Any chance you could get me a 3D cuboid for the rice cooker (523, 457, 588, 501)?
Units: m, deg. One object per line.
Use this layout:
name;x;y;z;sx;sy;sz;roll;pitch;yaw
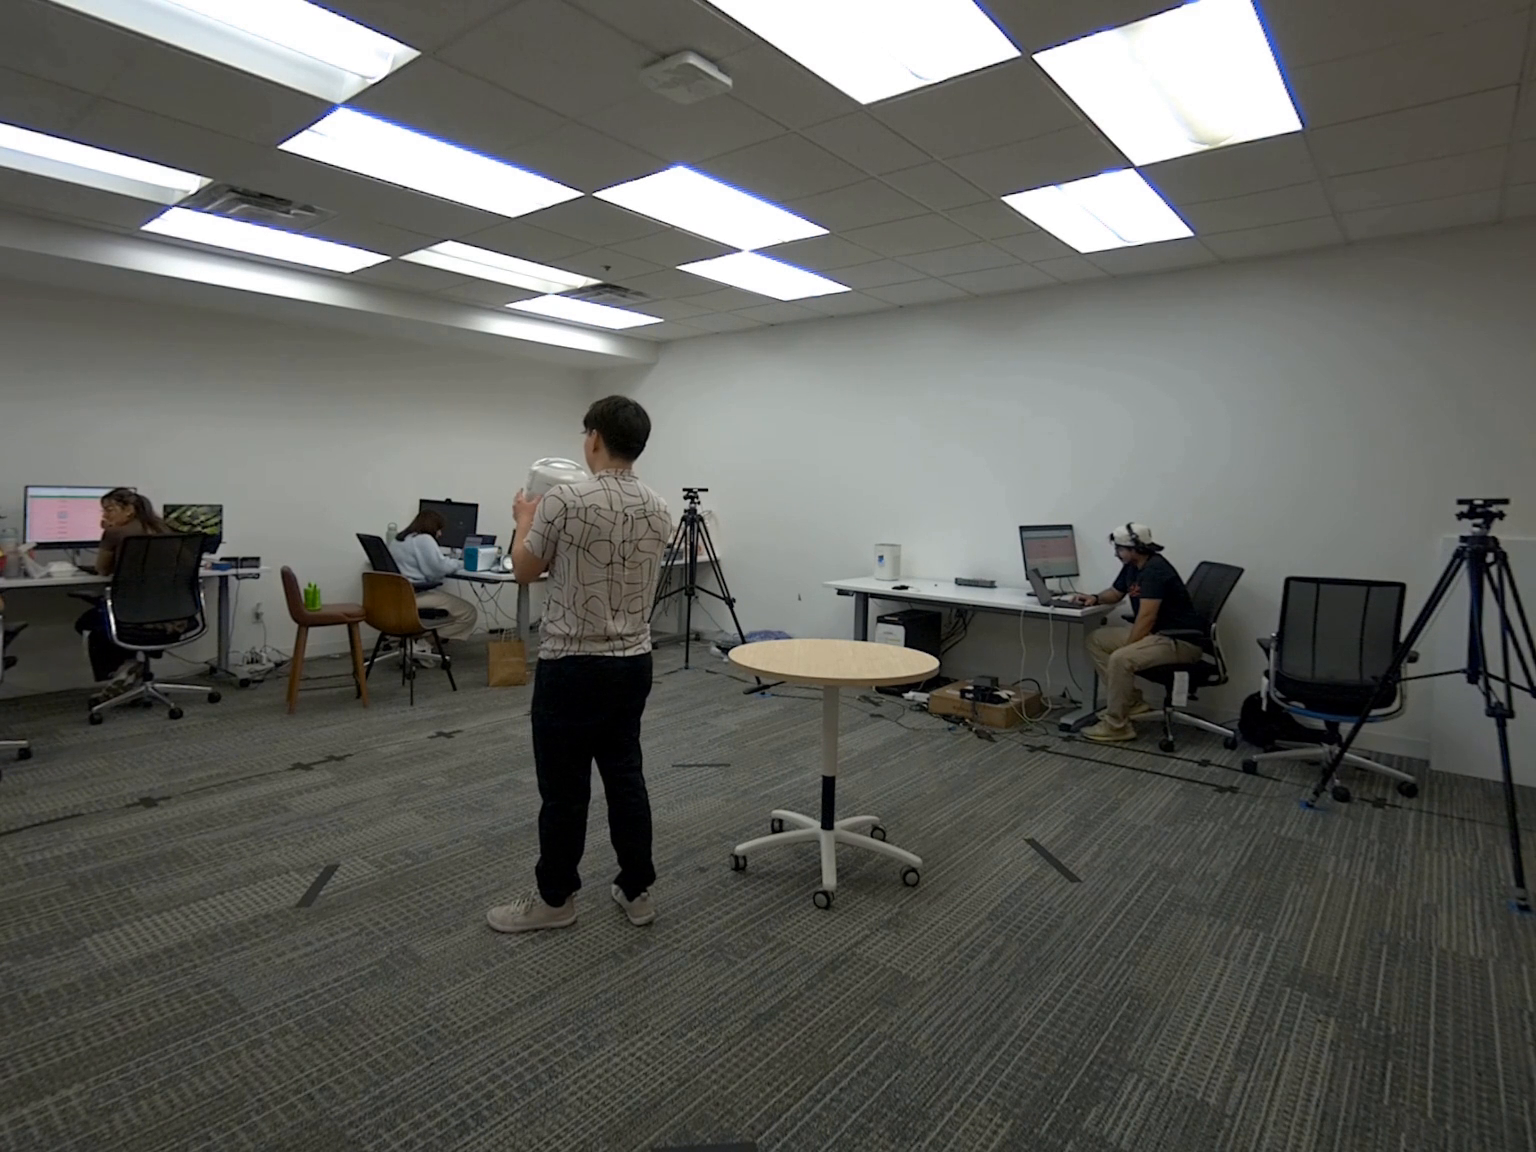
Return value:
rice cooker;-0.752;-0.302;2.979;0.214;0.230;0.227;3;22;-35
